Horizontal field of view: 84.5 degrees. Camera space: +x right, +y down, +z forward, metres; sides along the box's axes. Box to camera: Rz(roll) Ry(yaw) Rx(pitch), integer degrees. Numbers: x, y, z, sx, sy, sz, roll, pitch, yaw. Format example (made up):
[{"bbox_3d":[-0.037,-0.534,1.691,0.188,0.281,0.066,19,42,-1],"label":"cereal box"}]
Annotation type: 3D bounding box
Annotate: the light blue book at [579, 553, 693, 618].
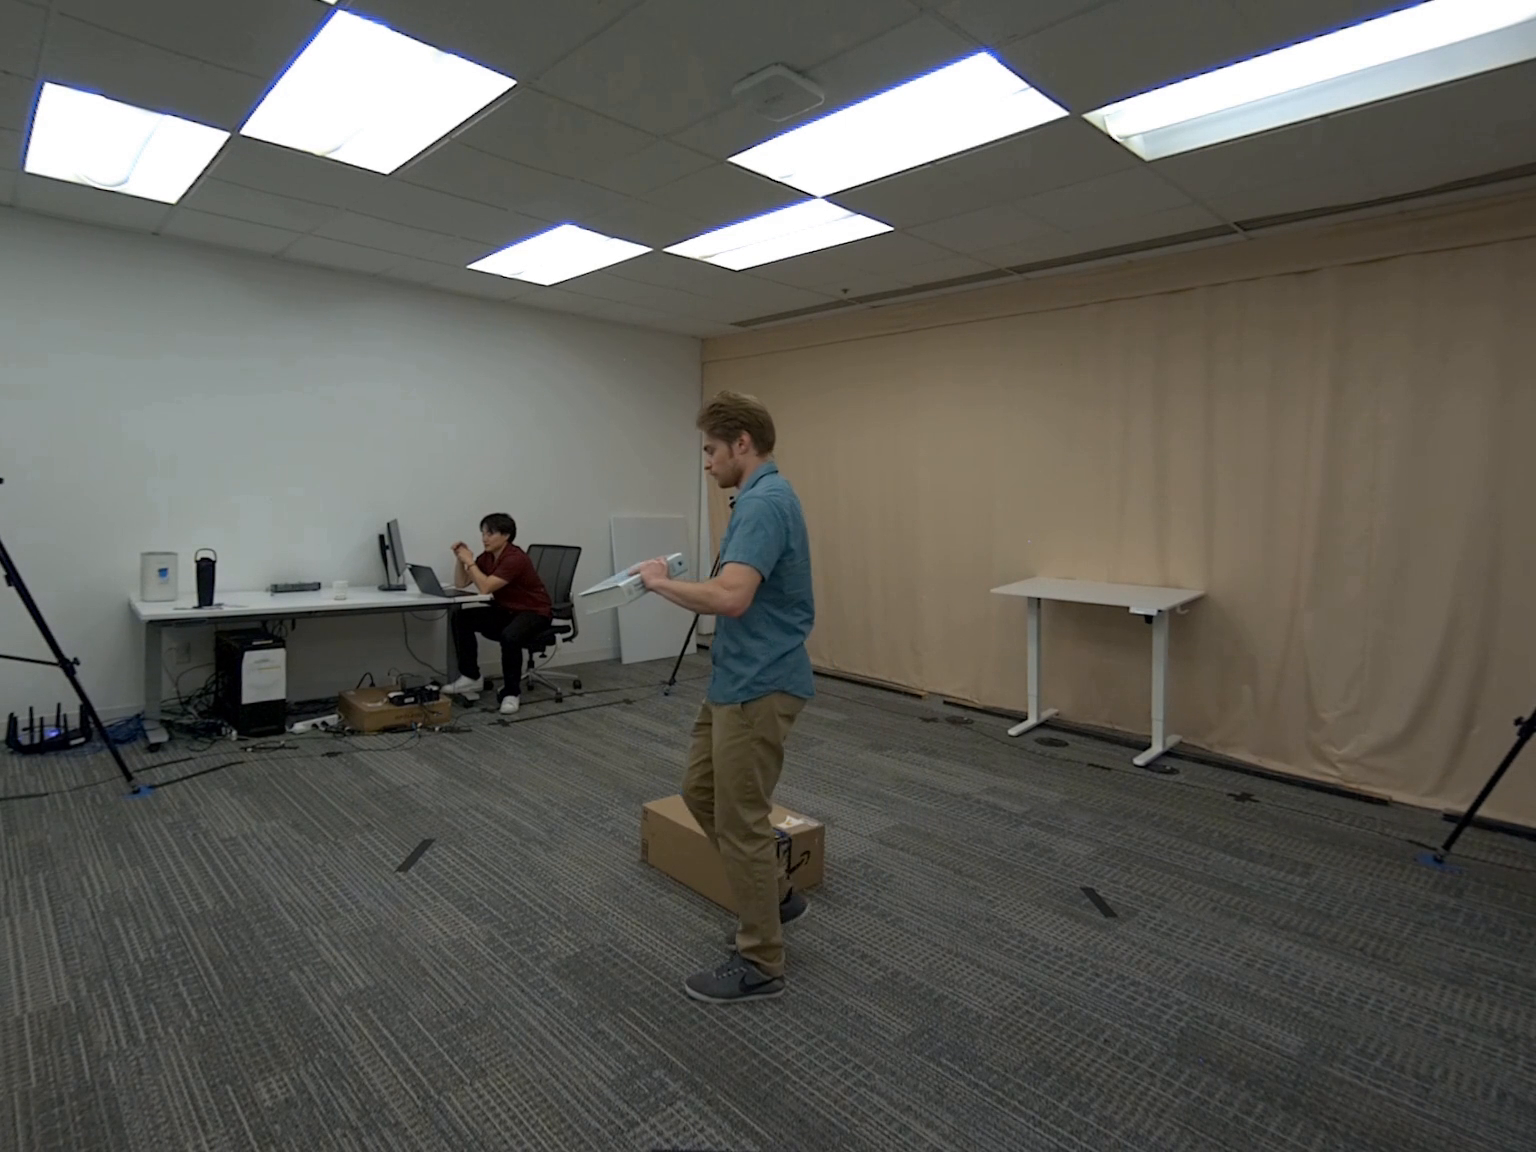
[{"bbox_3d":[-0.374,0.025,2.400,0.195,0.058,0.259,-13,13,39],"label":"light blue book"}]
